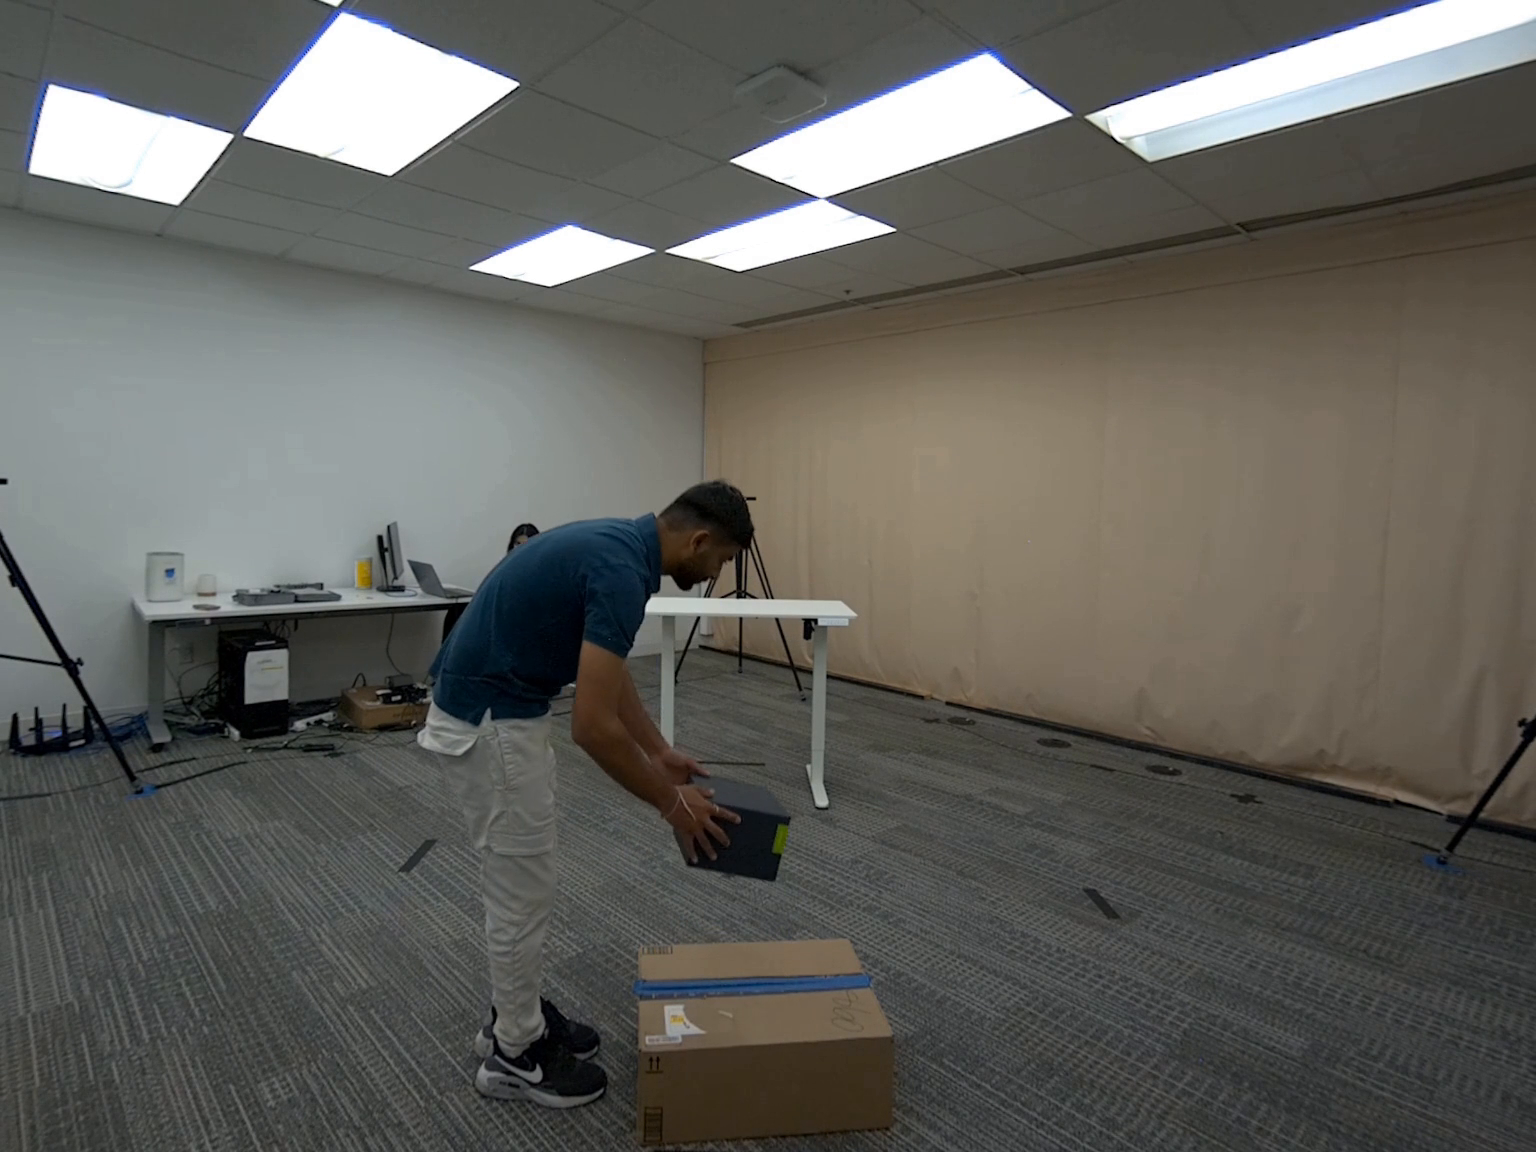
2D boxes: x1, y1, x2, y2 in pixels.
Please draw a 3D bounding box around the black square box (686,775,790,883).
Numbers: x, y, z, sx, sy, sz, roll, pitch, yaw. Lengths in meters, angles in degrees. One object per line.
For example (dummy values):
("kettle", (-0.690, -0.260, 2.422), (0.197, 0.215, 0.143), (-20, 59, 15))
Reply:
("black square box", (-0.084, 0.603, 2.014), (0.214, 0.156, 0.230), (14, 1, -12))
